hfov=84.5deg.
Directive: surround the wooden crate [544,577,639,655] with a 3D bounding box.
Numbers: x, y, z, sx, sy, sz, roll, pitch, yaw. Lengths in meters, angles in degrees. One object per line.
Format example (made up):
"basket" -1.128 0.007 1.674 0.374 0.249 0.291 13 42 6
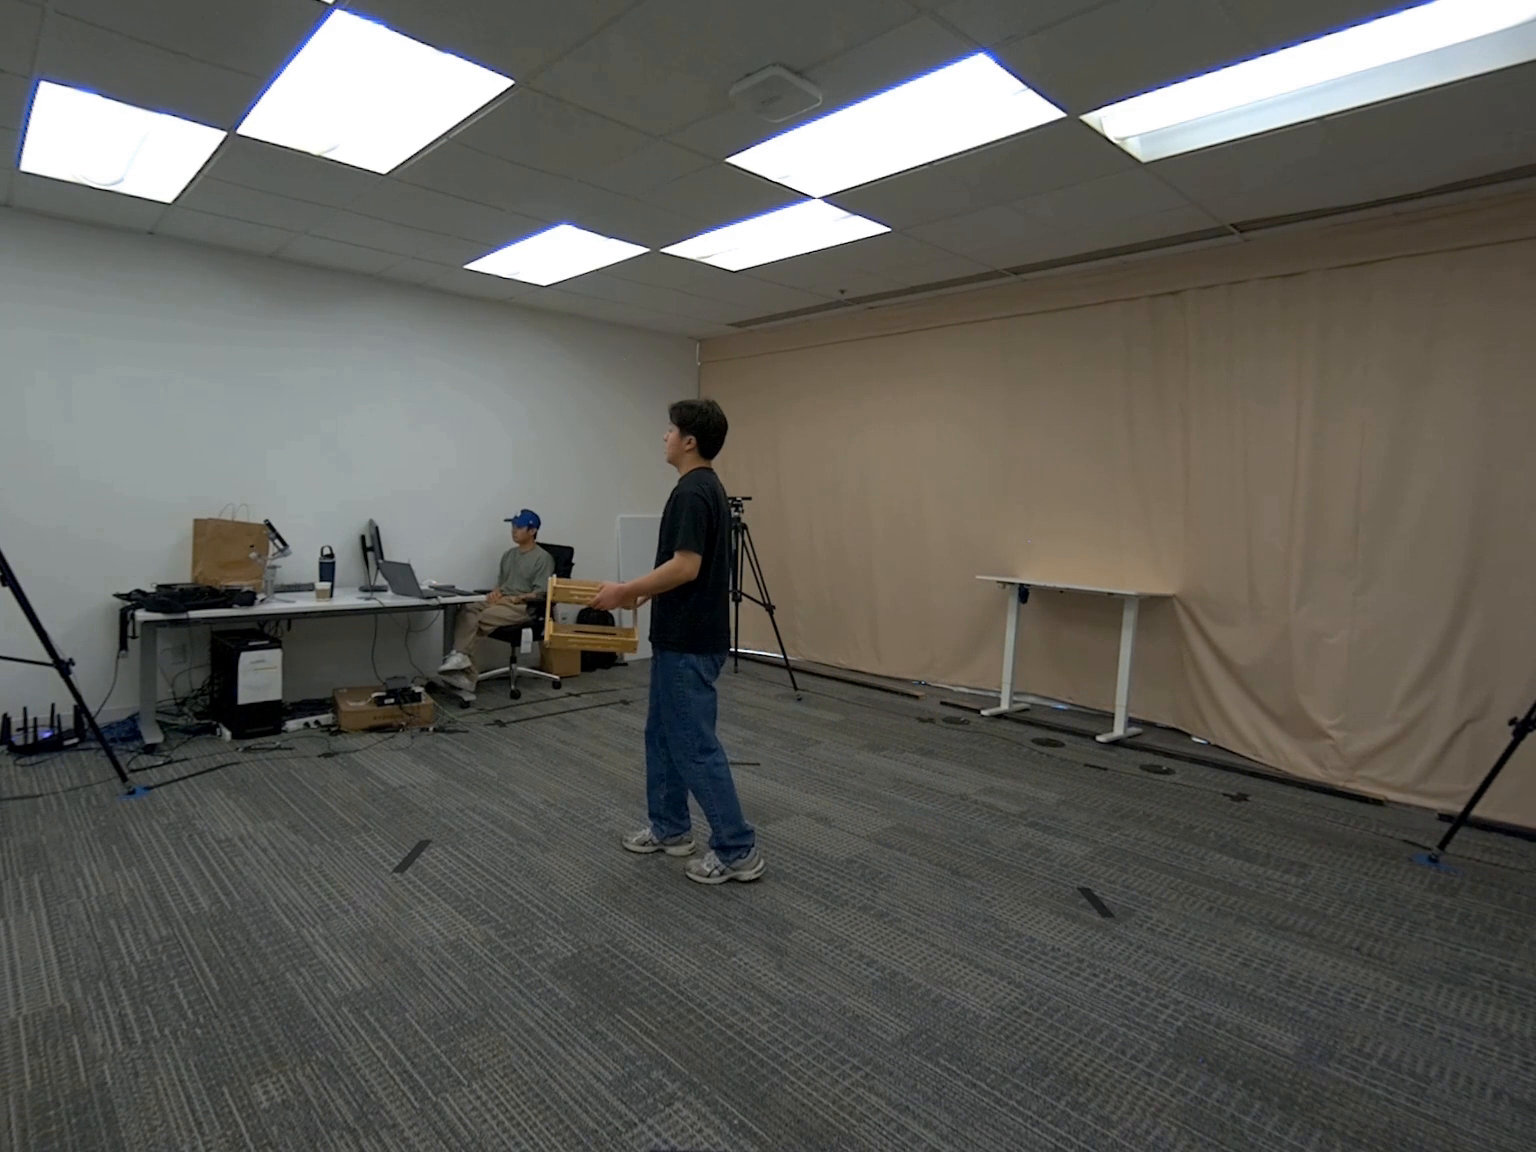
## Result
"wooden crate" -0.639 0.136 3.029 0.320 0.275 0.304 5 -8 -15
